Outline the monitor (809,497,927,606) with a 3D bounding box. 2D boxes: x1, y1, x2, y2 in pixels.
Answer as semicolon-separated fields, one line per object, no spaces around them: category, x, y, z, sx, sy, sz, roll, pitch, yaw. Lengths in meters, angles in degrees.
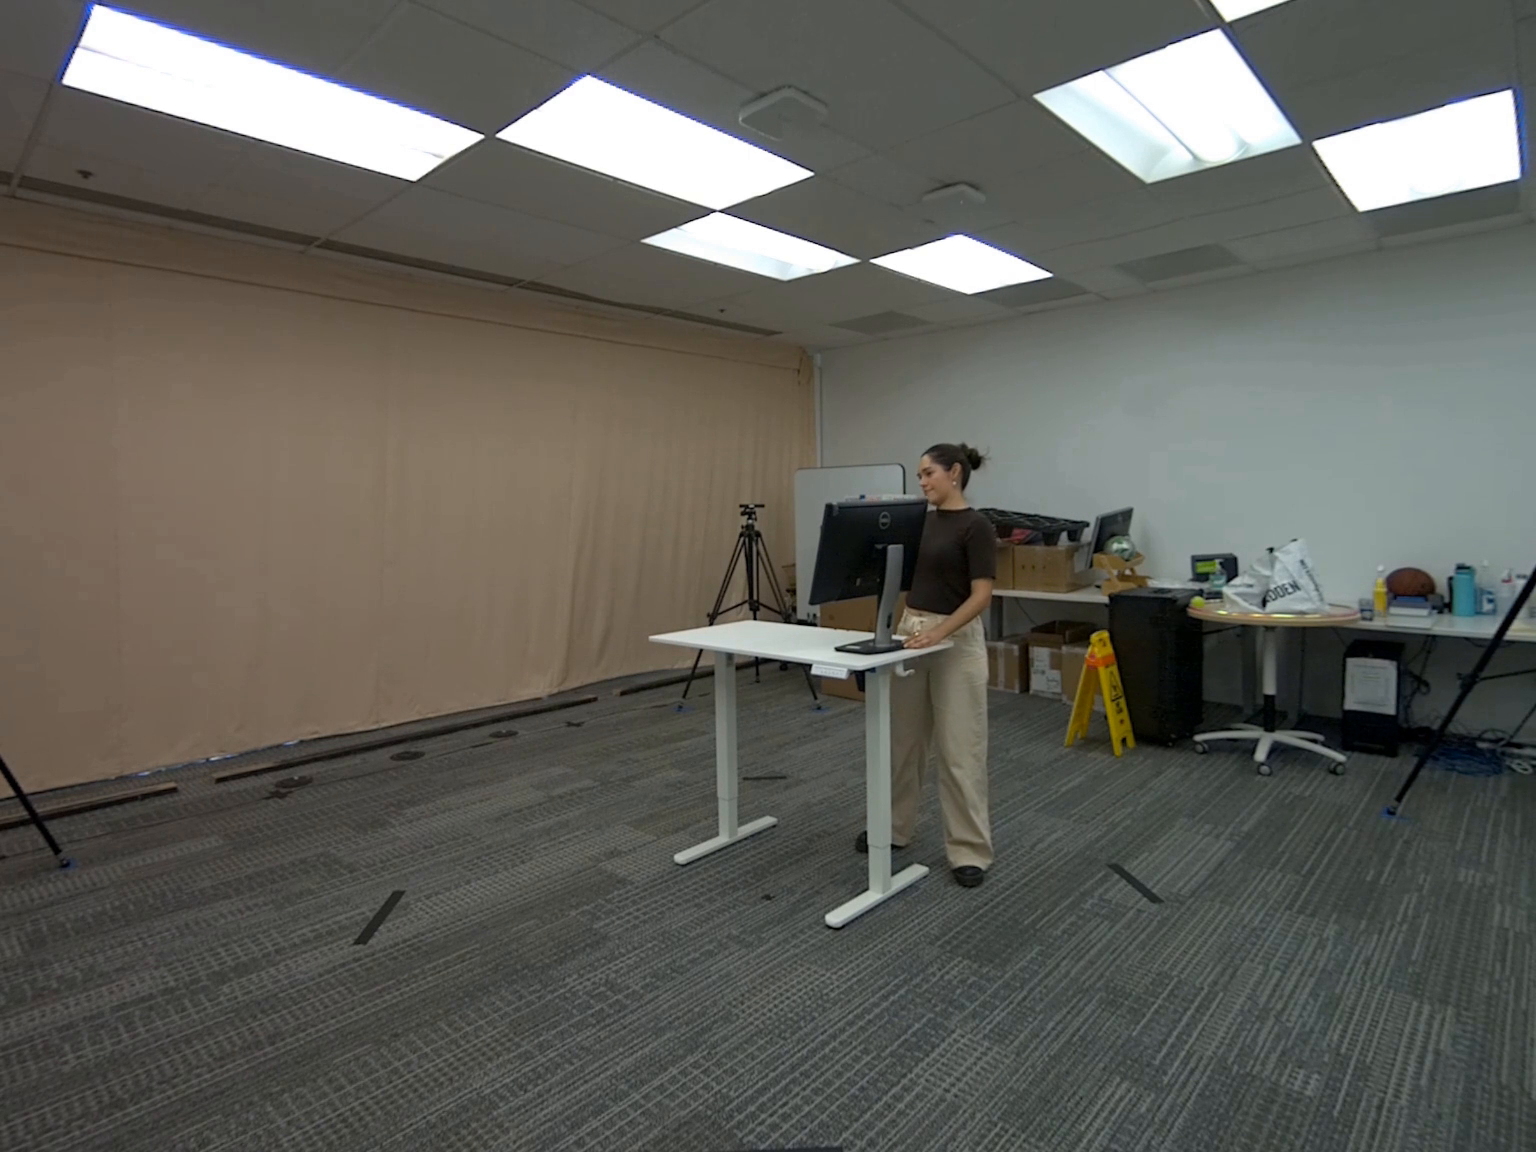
monitor;0.398;0.002;2.915;0.523;0.521;0.193;-5;7;-43
